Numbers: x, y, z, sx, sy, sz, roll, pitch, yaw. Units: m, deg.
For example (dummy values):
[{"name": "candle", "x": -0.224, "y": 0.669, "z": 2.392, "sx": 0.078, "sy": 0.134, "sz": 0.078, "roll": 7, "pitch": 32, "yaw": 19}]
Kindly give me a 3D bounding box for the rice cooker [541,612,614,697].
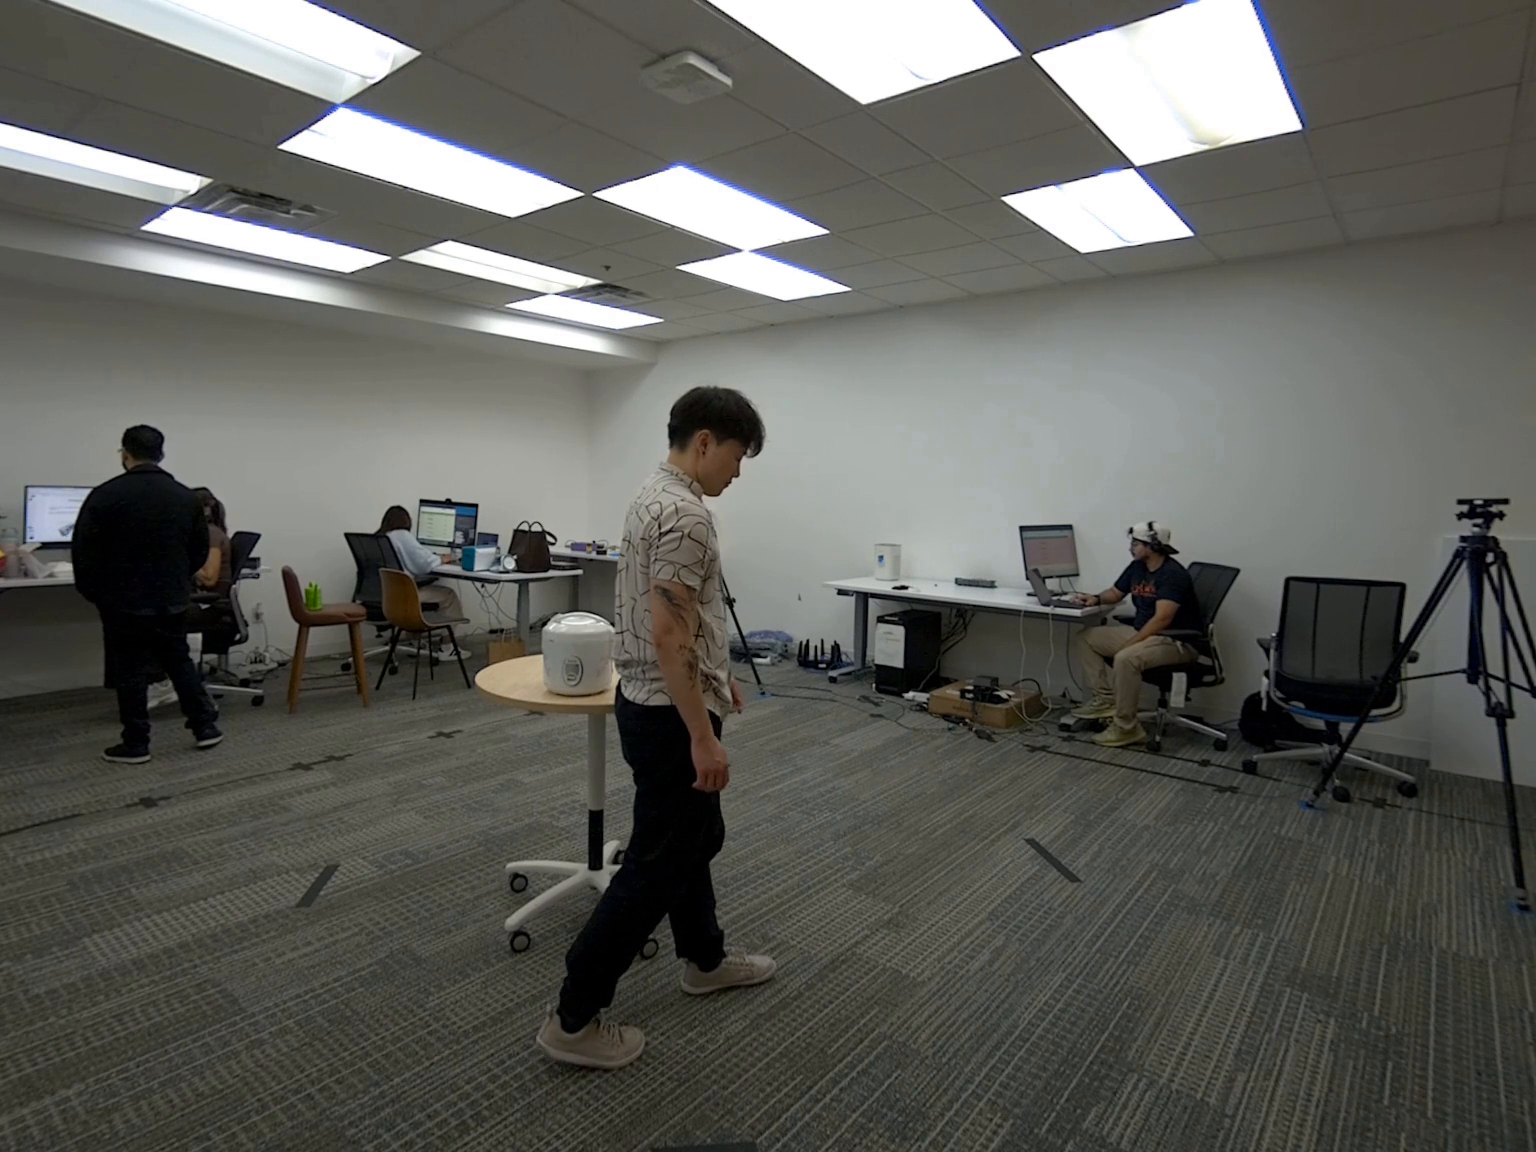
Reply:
[{"name": "rice cooker", "x": -0.576, "y": 0.224, "z": 2.538, "sx": 0.220, "sy": 0.232, "sz": 0.218, "roll": 1, "pitch": 4, "yaw": -2}]
